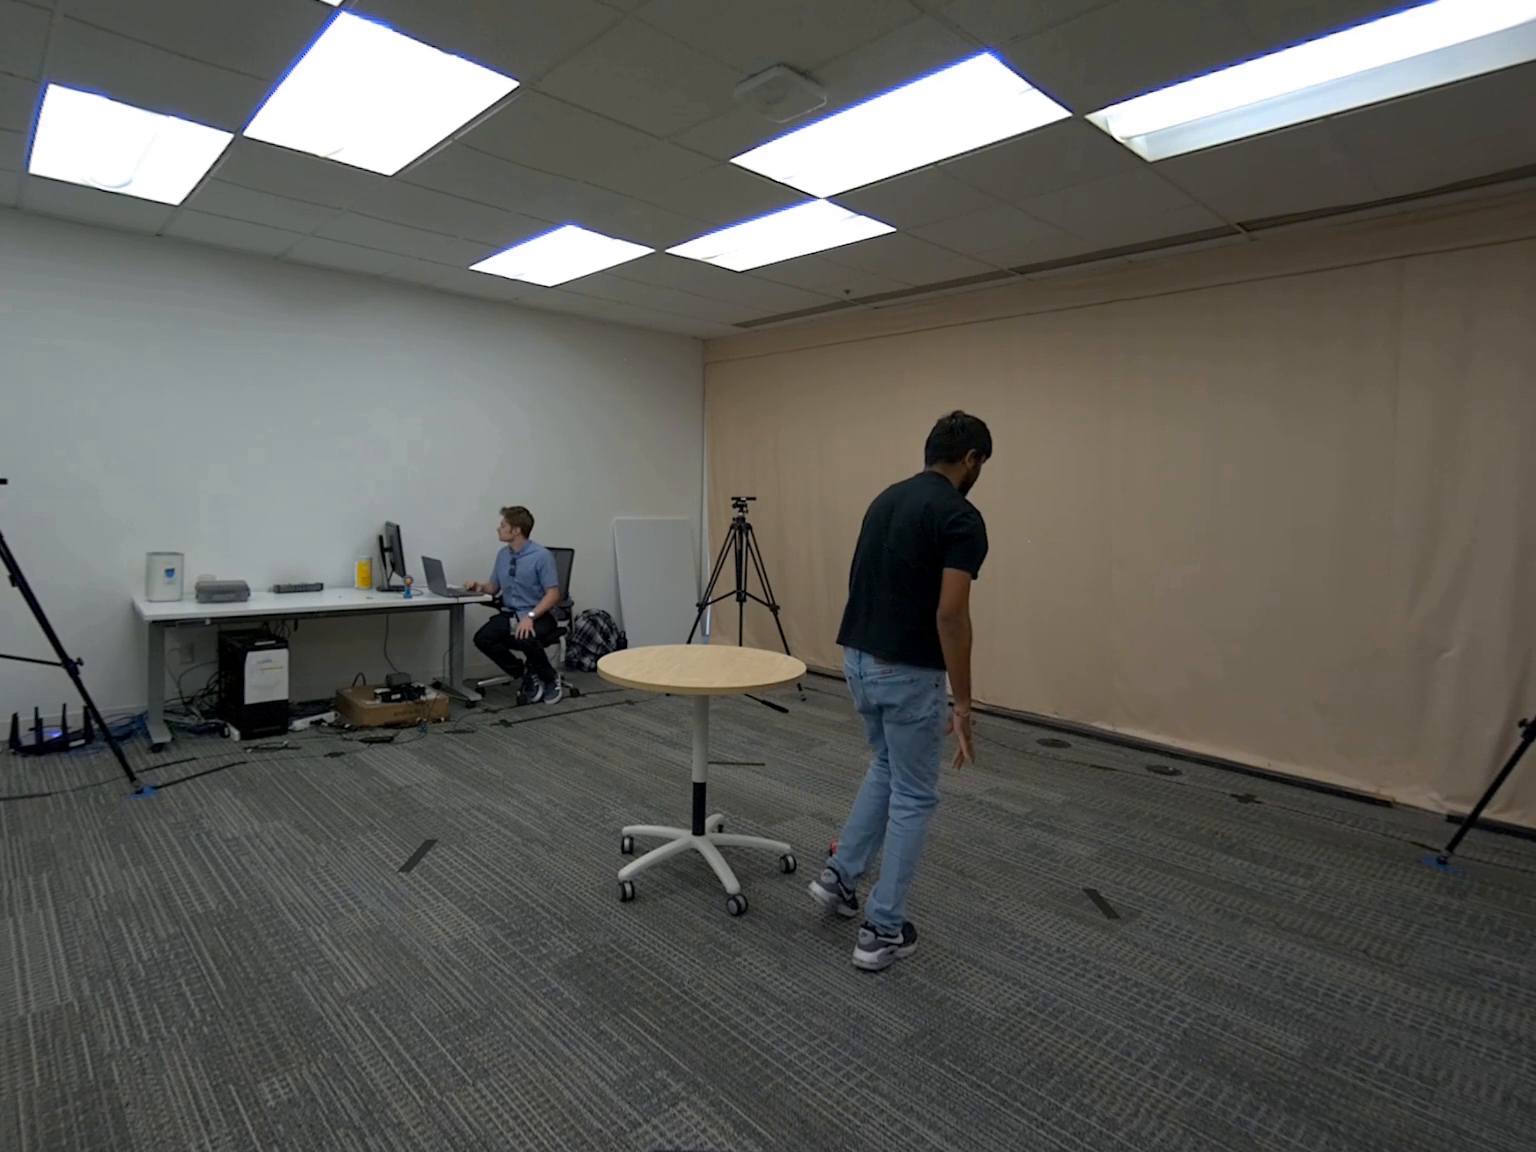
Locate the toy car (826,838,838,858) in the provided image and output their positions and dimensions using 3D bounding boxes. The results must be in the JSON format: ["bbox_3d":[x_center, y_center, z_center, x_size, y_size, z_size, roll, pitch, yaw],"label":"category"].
[{"bbox_3d":[0.311,1.076,3.219,0.130,0.083,0.253,1,-6,-2],"label":"toy car"}]
